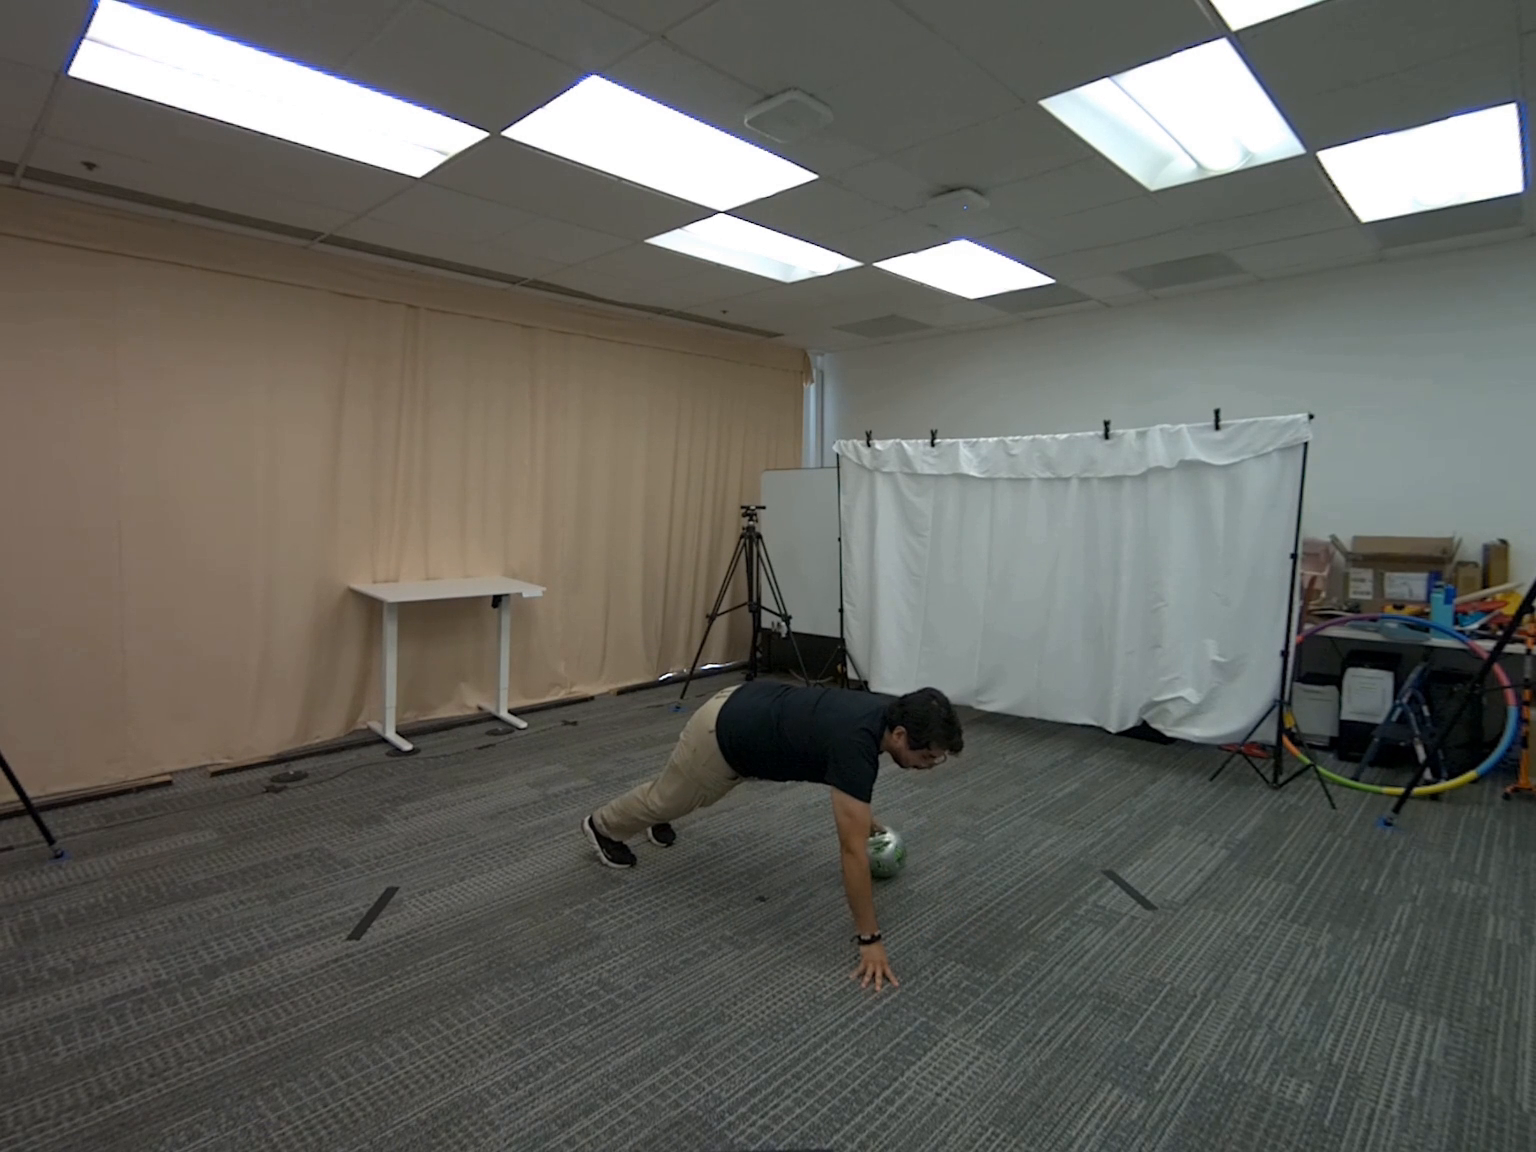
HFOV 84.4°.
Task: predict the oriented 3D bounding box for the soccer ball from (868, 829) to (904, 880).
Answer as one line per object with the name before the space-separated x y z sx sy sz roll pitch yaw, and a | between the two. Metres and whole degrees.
soccer ball | 0.430 1.041 3.148 0.187 0.187 0.188 0 4 -2
